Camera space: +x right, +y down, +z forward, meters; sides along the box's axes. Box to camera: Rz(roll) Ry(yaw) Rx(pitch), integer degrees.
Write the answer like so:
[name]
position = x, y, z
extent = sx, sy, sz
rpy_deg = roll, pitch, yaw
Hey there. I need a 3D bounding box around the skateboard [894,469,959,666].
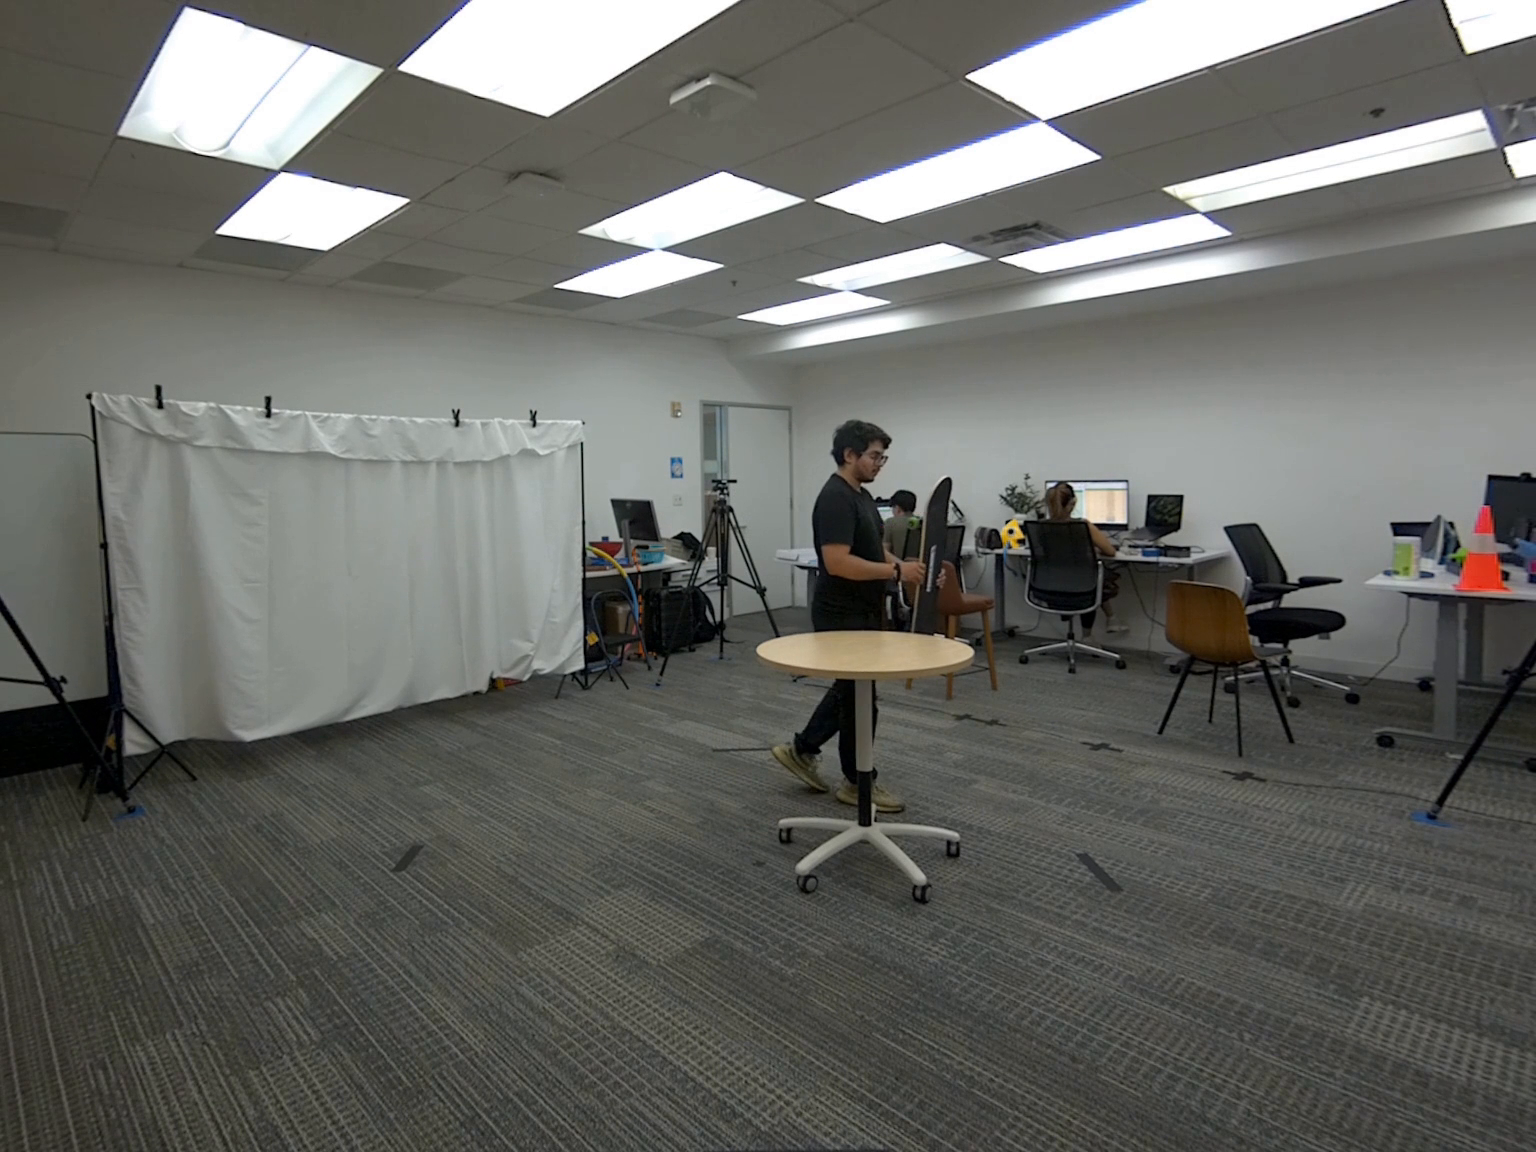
[skateboard]
position = 0.648, -0.035, 3.536
extent = 0.114, 0.773, 0.190
rpy_deg = 15, 23, 34
